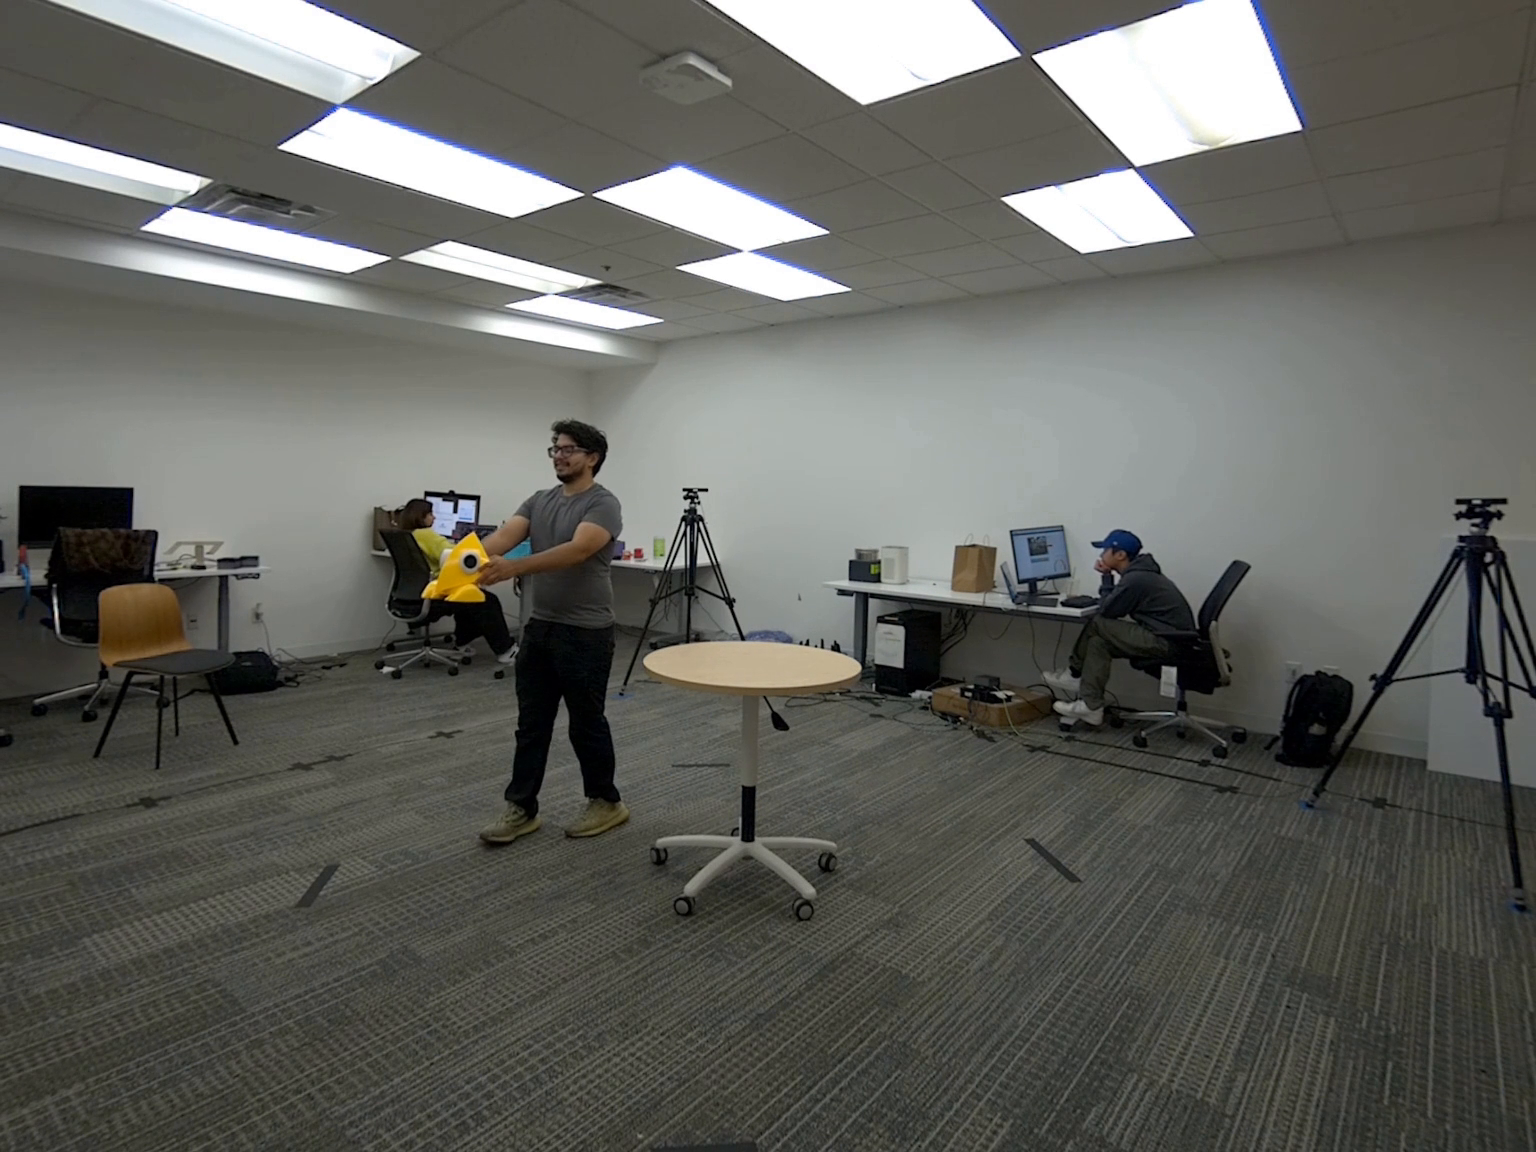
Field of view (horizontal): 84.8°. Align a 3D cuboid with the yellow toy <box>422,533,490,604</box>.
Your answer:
[{"bbox_3d":[-1.068,-0.044,2.895,0.210,0.231,0.188,5,0,26],"label":"yellow toy"}]
